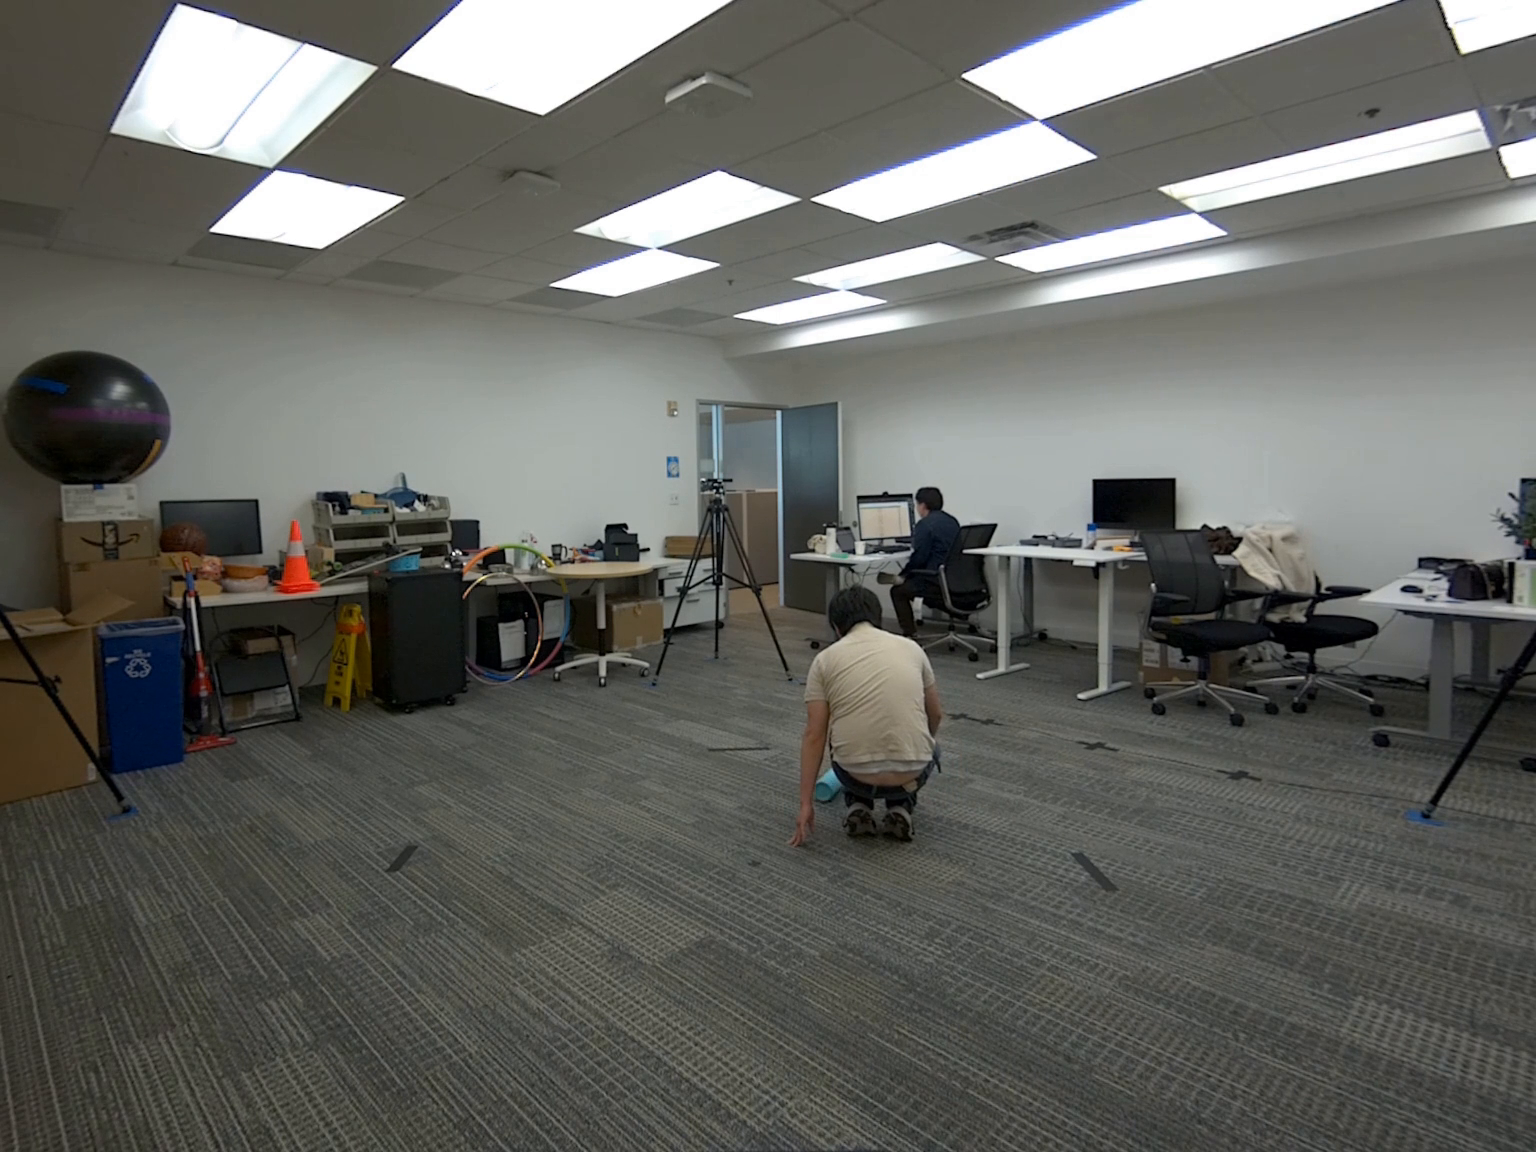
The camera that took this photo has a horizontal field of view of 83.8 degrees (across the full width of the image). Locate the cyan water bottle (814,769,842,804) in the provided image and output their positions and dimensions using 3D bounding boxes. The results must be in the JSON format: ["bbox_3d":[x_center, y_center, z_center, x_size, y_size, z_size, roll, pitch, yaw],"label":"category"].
[{"bbox_3d":[0.289,0.914,3.809,0.094,0.092,0.278,1,5,21],"label":"cyan water bottle"}]
